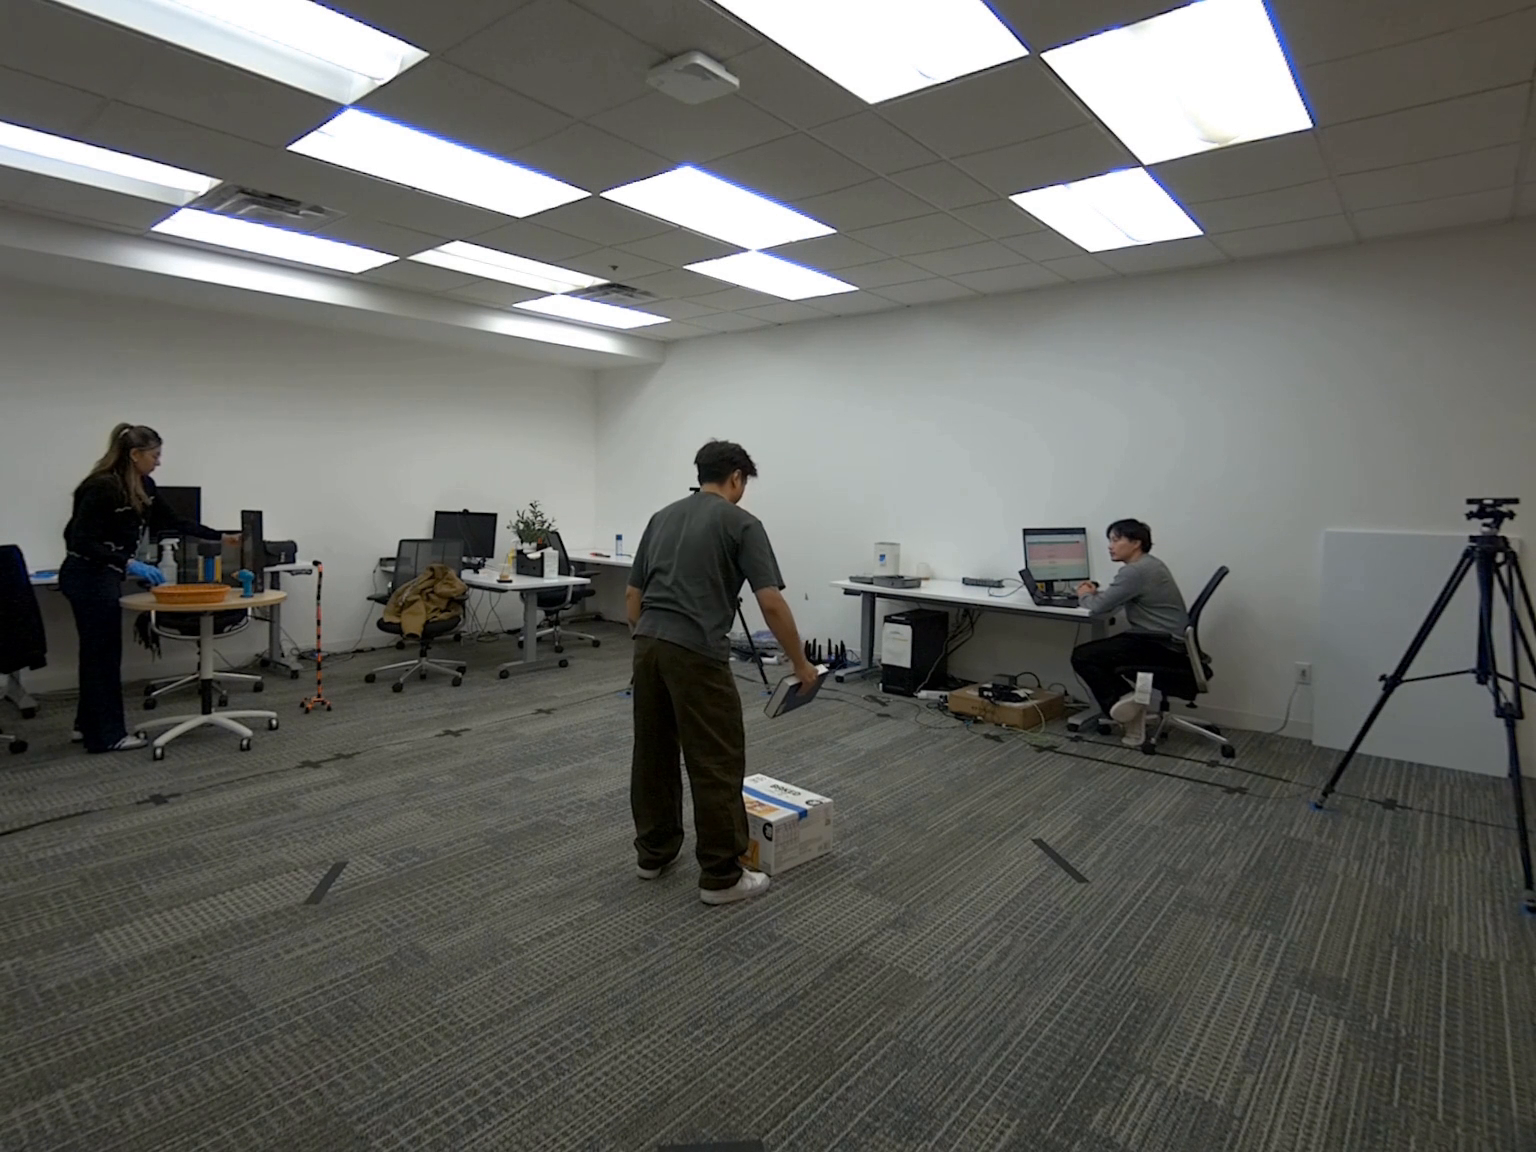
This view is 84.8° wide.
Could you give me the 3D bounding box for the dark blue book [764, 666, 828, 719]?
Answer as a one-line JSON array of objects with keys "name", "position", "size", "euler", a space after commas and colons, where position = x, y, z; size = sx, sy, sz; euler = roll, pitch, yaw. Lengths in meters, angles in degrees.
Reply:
[{"name": "dark blue book", "position": [0.095, 0.413, 3.012], "size": [0.047, 0.162, 0.239], "euler": [42, 31, 27]}]
